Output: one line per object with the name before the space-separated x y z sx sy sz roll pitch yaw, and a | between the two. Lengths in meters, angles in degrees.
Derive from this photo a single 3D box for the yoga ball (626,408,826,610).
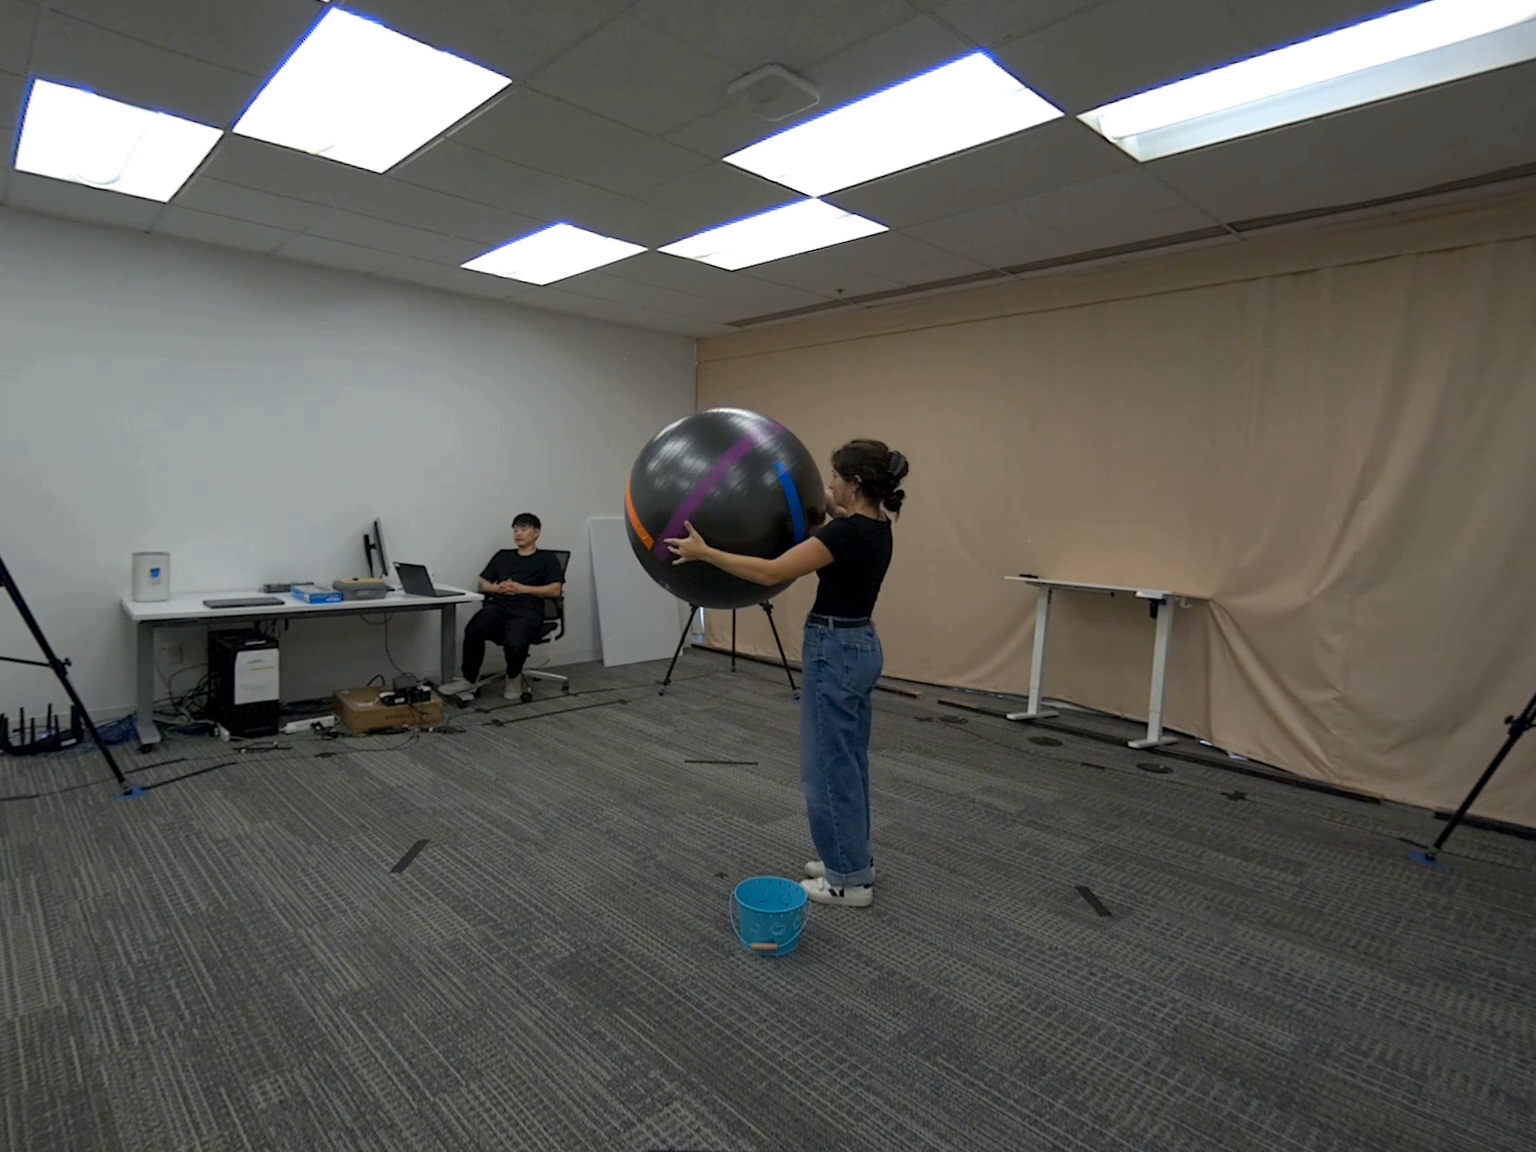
yoga ball | -0.169 -0.252 3.180 0.757 0.756 0.761 1 4 -1
